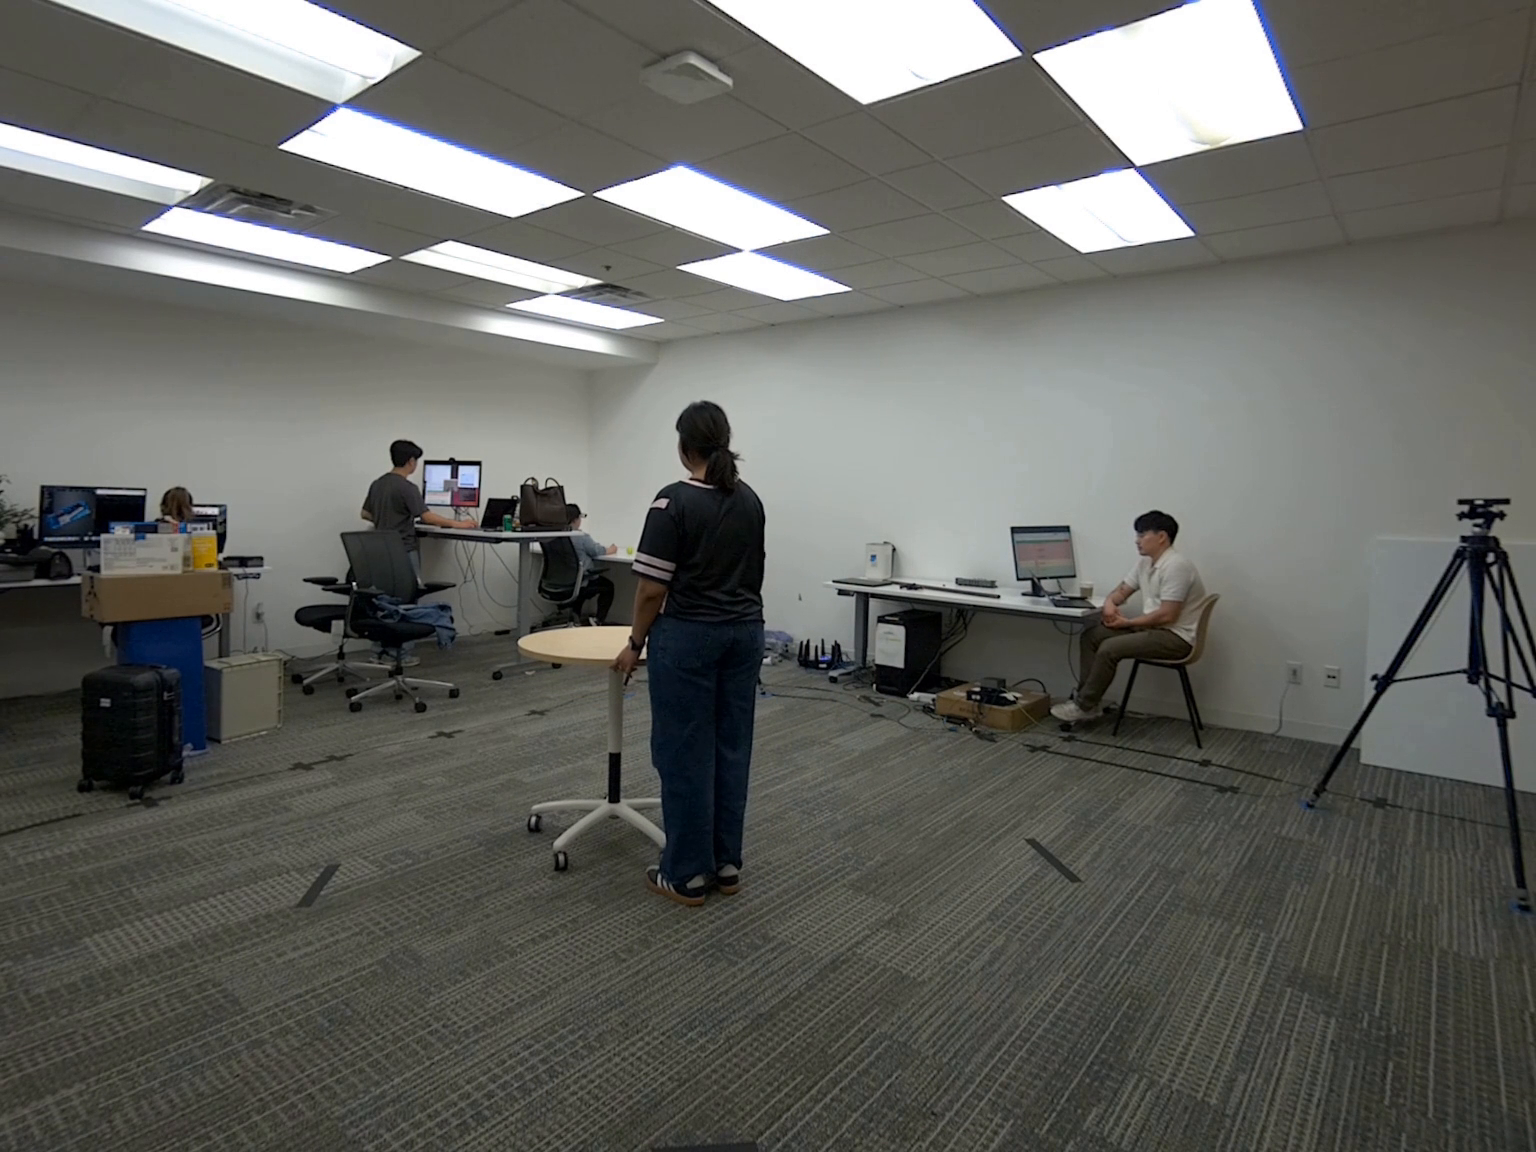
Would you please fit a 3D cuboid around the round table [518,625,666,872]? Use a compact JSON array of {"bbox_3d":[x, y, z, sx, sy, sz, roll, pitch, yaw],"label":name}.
[{"bbox_3d":[-0.614,0.643,3.362,0.784,0.784,0.788,1,3,-2],"label":"round table"}]
